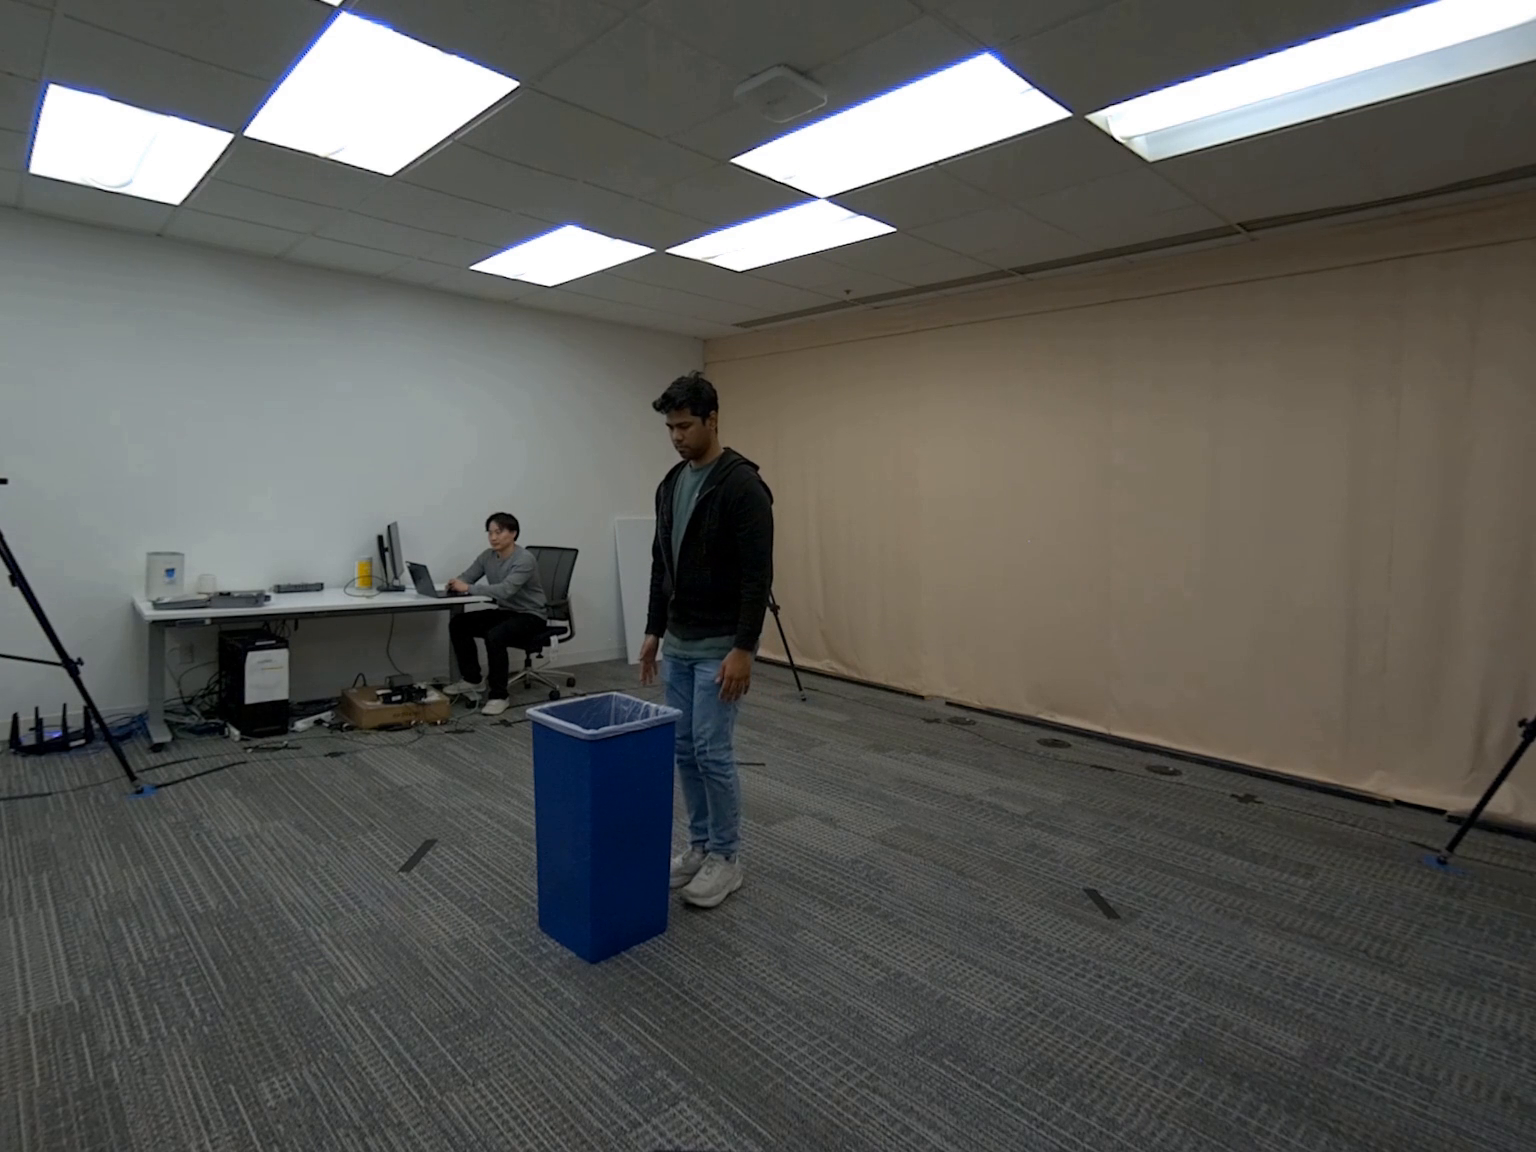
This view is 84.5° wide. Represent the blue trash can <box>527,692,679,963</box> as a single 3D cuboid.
[{"bbox_3d":[-0.534,0.781,2.670,0.387,0.712,0.365,4,4,44],"label":"blue trash can"}]
